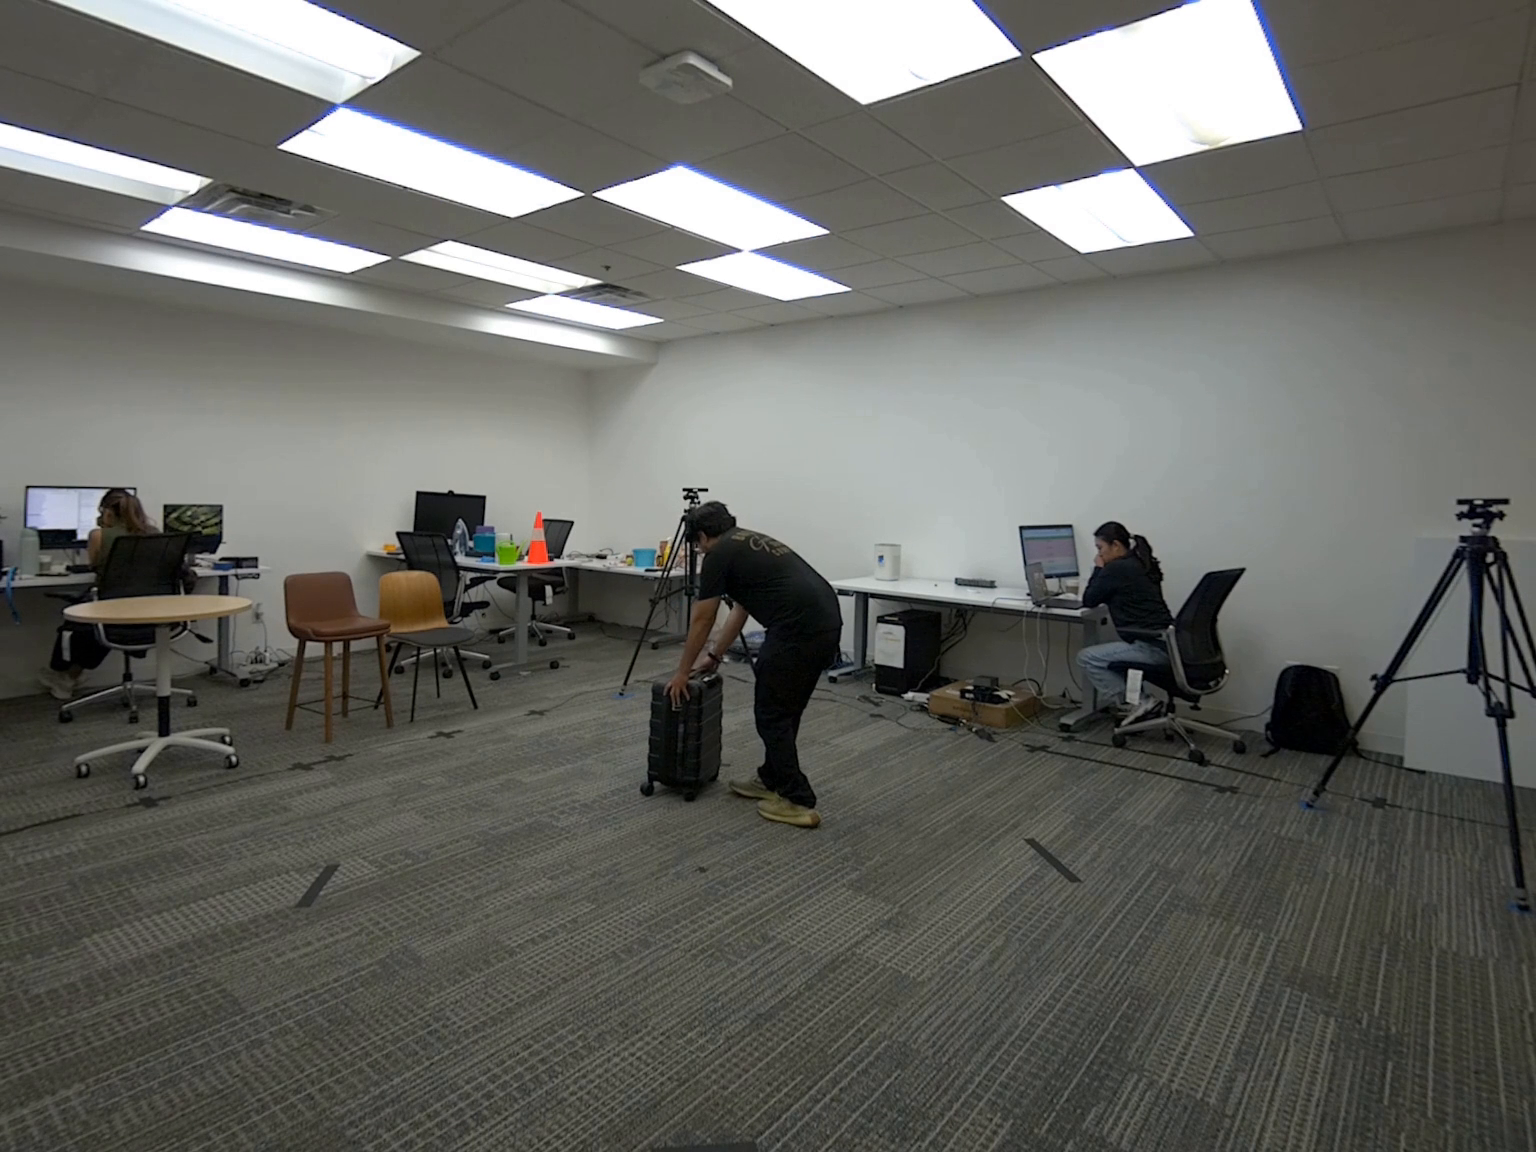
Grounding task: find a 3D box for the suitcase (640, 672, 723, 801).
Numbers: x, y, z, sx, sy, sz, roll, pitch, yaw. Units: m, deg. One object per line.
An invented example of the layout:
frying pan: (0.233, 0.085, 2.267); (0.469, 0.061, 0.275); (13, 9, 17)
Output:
suitcase: (-0.393, 0.711, 3.967); (0.254, 0.548, 0.368); (4, 3, 19)
